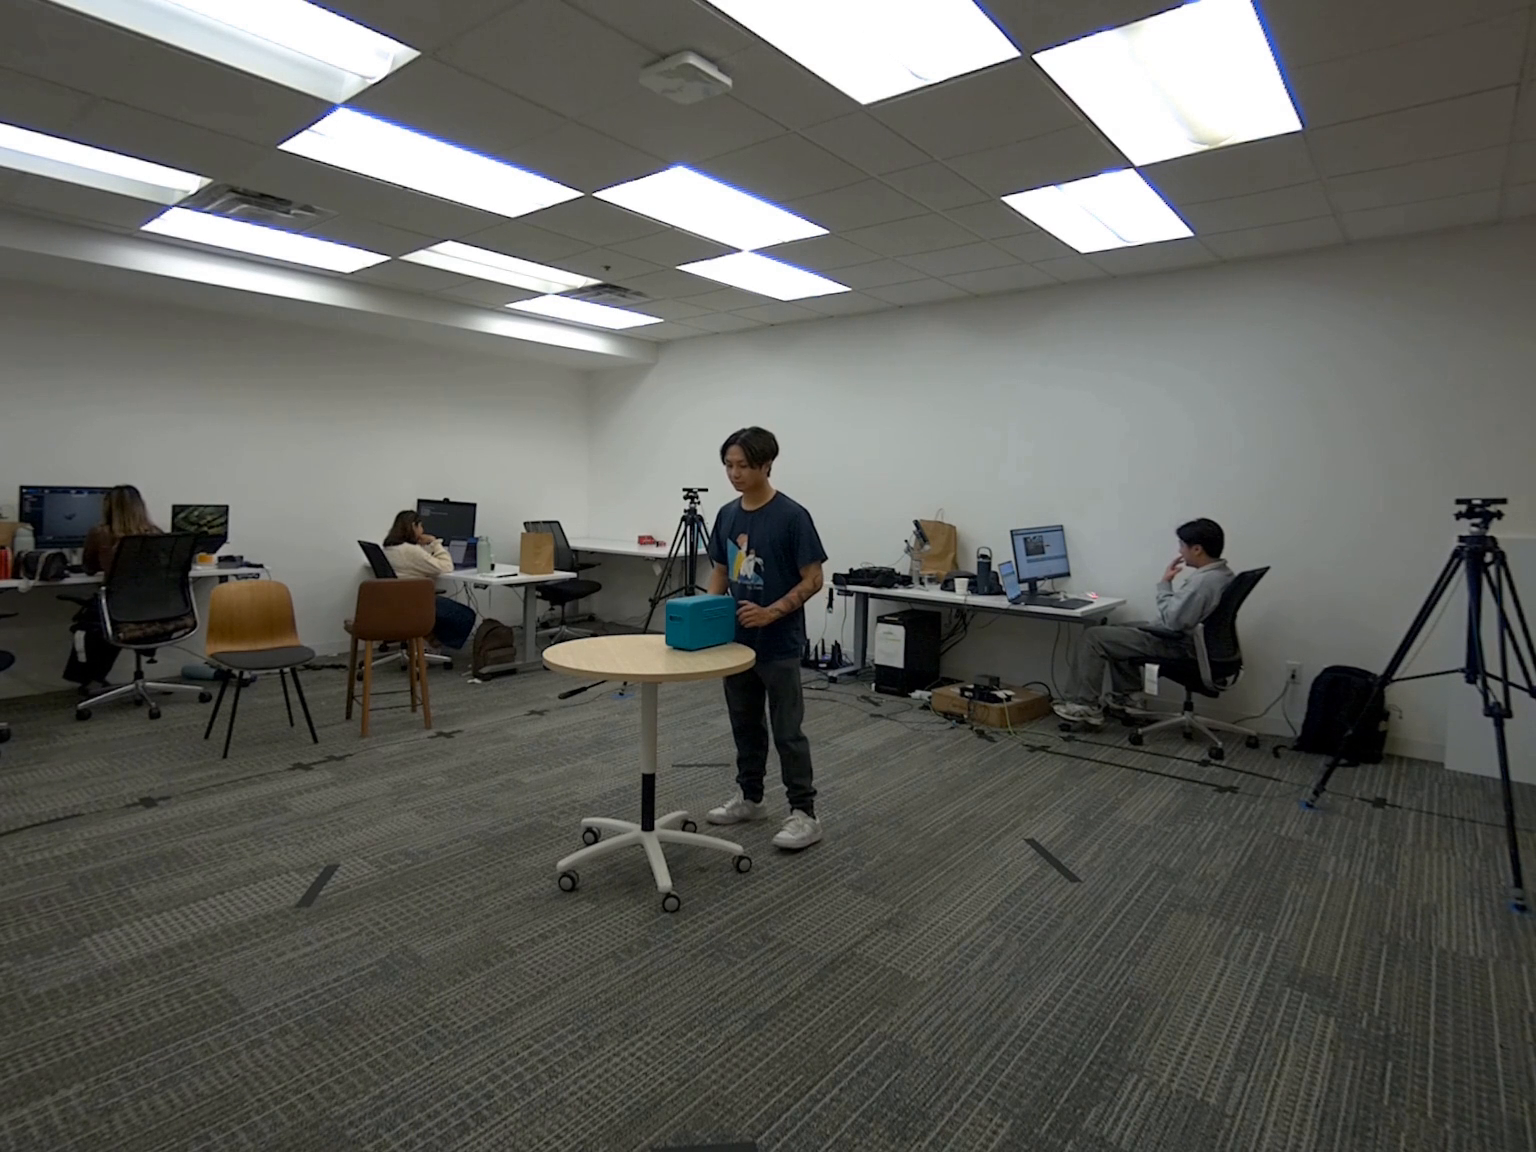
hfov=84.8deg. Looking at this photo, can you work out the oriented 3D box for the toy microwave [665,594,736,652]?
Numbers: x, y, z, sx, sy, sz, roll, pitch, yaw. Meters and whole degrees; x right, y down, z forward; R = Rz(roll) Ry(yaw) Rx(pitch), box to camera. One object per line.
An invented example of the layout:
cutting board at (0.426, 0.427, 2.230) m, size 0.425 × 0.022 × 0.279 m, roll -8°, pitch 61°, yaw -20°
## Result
toy microwave at (-0.278, 0.172, 3.231) m, size 0.157 × 0.183 × 0.278 m, roll 3°, pitch 4°, yaw 35°
